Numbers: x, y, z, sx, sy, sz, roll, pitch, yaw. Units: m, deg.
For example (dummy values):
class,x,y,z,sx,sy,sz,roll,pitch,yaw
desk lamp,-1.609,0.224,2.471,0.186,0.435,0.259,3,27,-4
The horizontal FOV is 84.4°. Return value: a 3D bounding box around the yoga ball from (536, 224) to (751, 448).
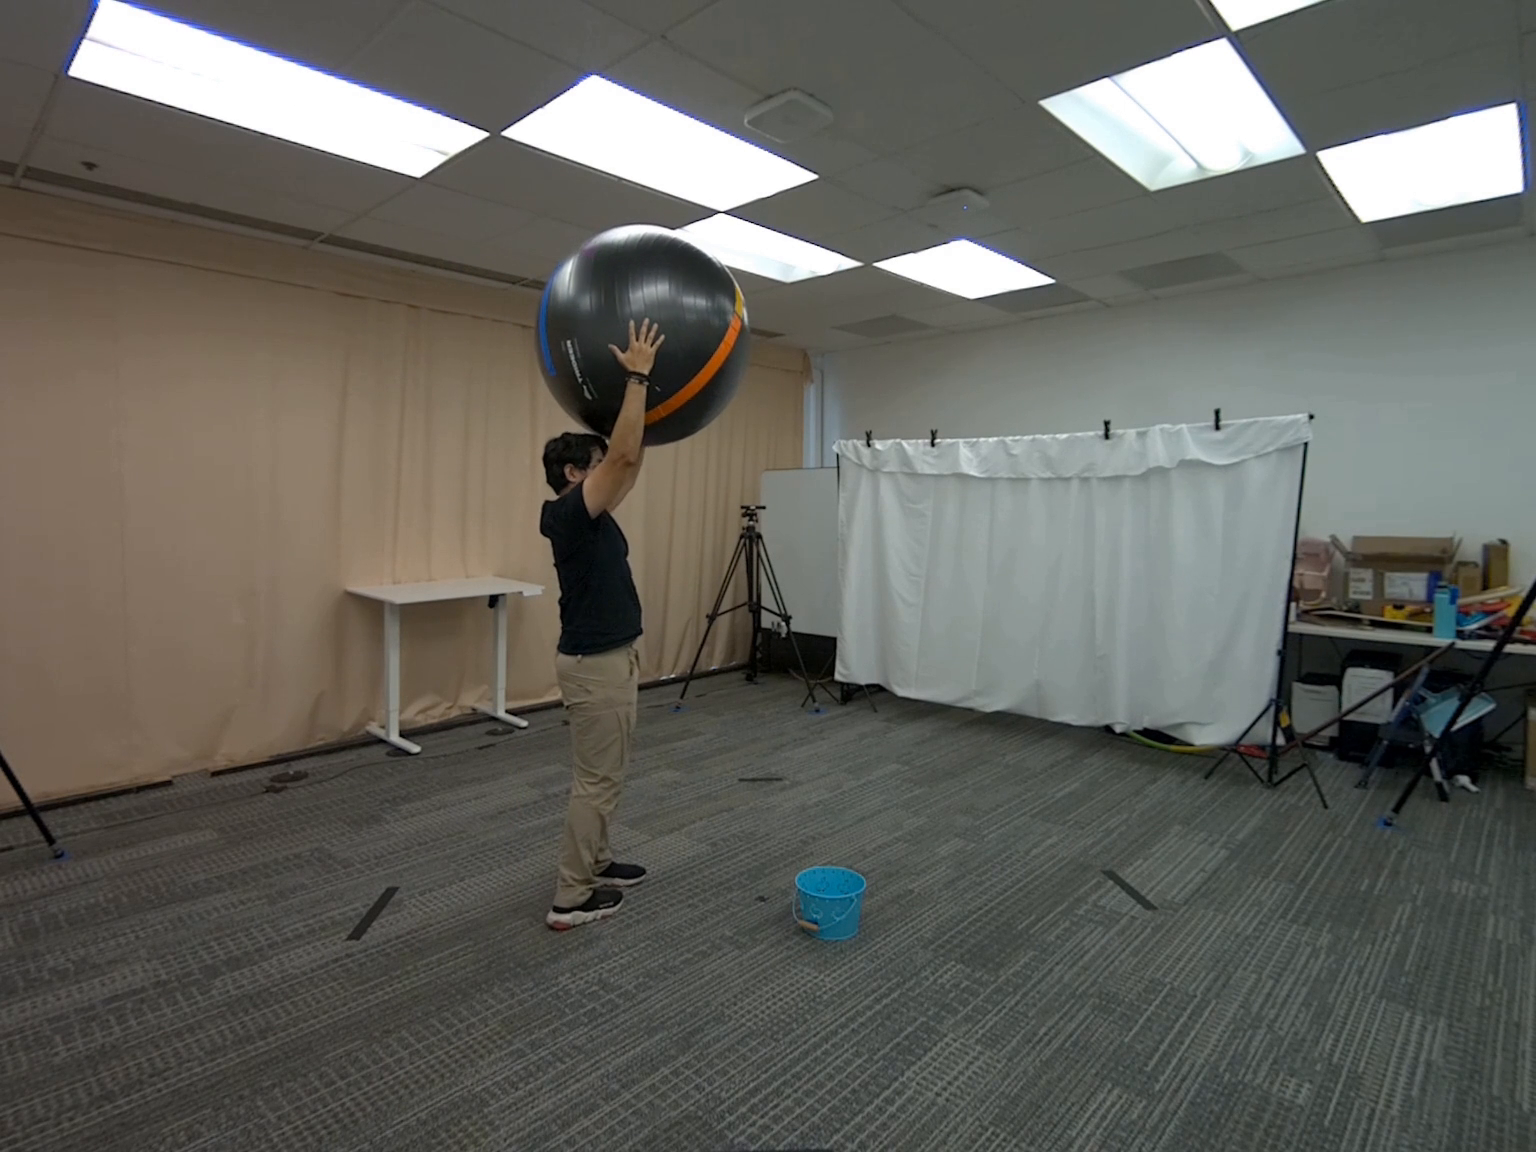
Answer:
class,x,y,z,sx,sy,sz,roll,pitch,yaw
yoga ball,-0.439,-0.836,2.990,0.757,0.756,0.761,0,4,-2
